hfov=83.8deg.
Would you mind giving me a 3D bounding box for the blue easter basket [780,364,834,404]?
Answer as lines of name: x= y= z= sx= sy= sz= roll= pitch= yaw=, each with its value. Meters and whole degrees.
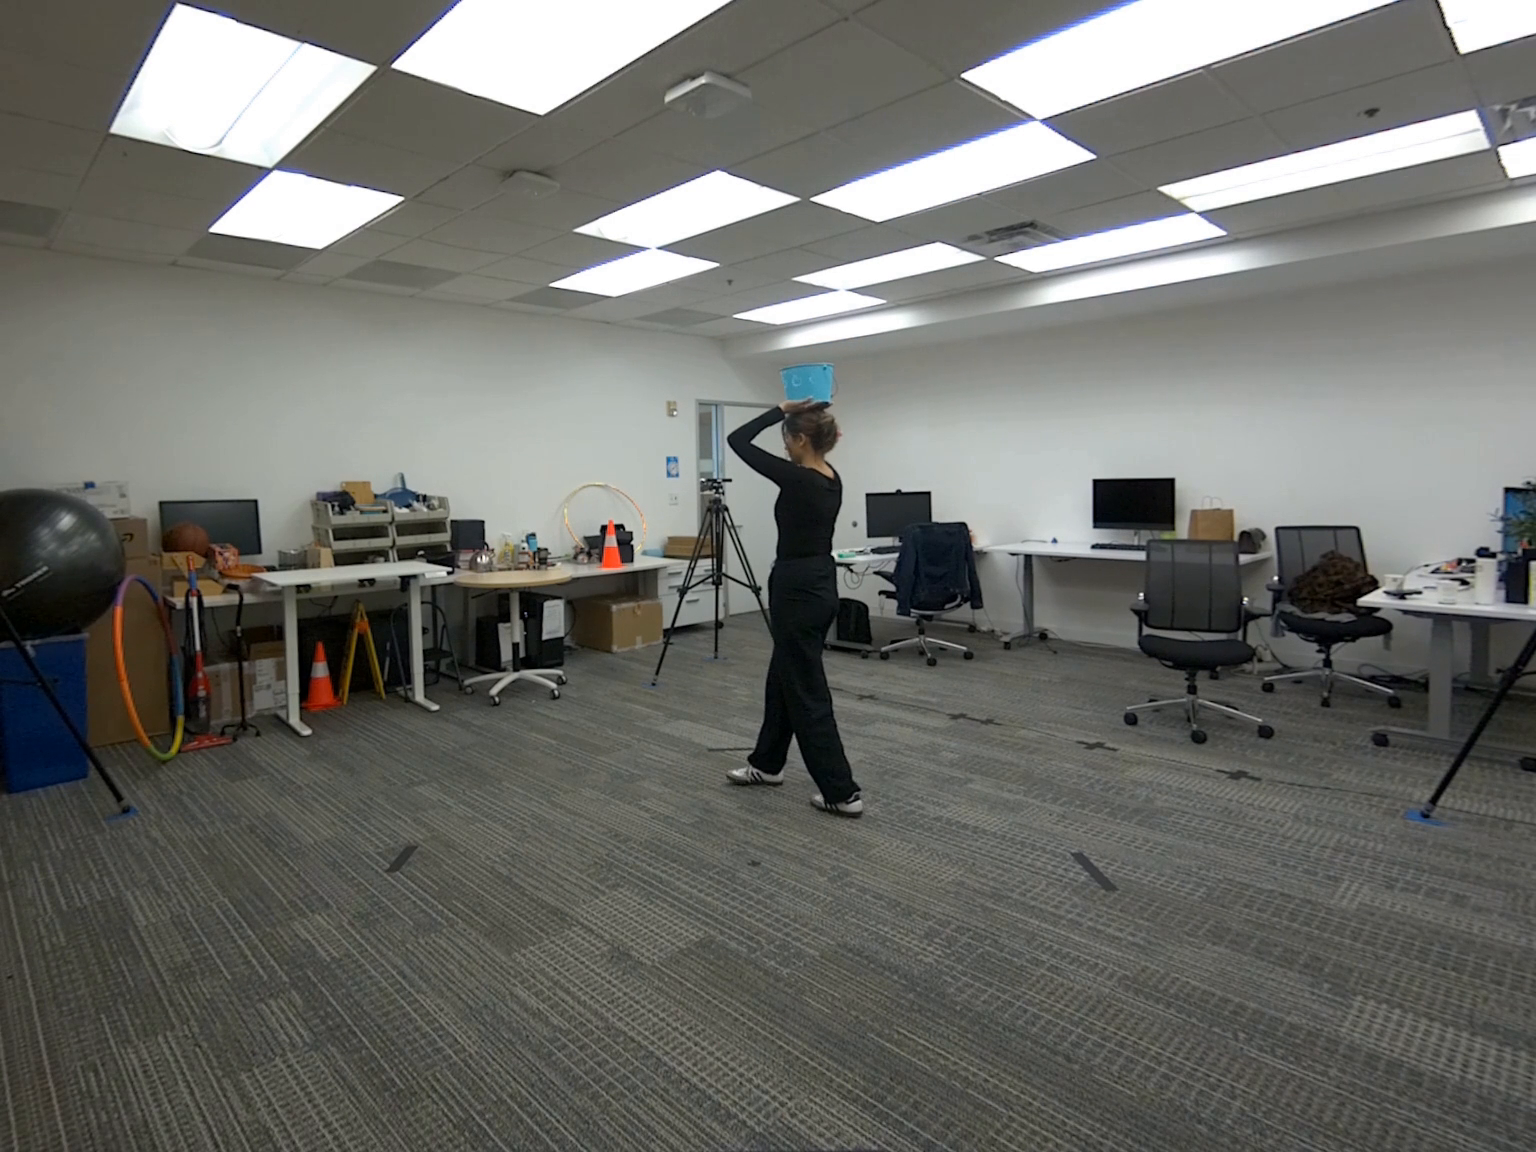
blue easter basket: x=0.178 y=-0.804 z=3.597 sx=0.243 sy=0.155 sz=0.245 roll=-4 pitch=6 yaw=-1
